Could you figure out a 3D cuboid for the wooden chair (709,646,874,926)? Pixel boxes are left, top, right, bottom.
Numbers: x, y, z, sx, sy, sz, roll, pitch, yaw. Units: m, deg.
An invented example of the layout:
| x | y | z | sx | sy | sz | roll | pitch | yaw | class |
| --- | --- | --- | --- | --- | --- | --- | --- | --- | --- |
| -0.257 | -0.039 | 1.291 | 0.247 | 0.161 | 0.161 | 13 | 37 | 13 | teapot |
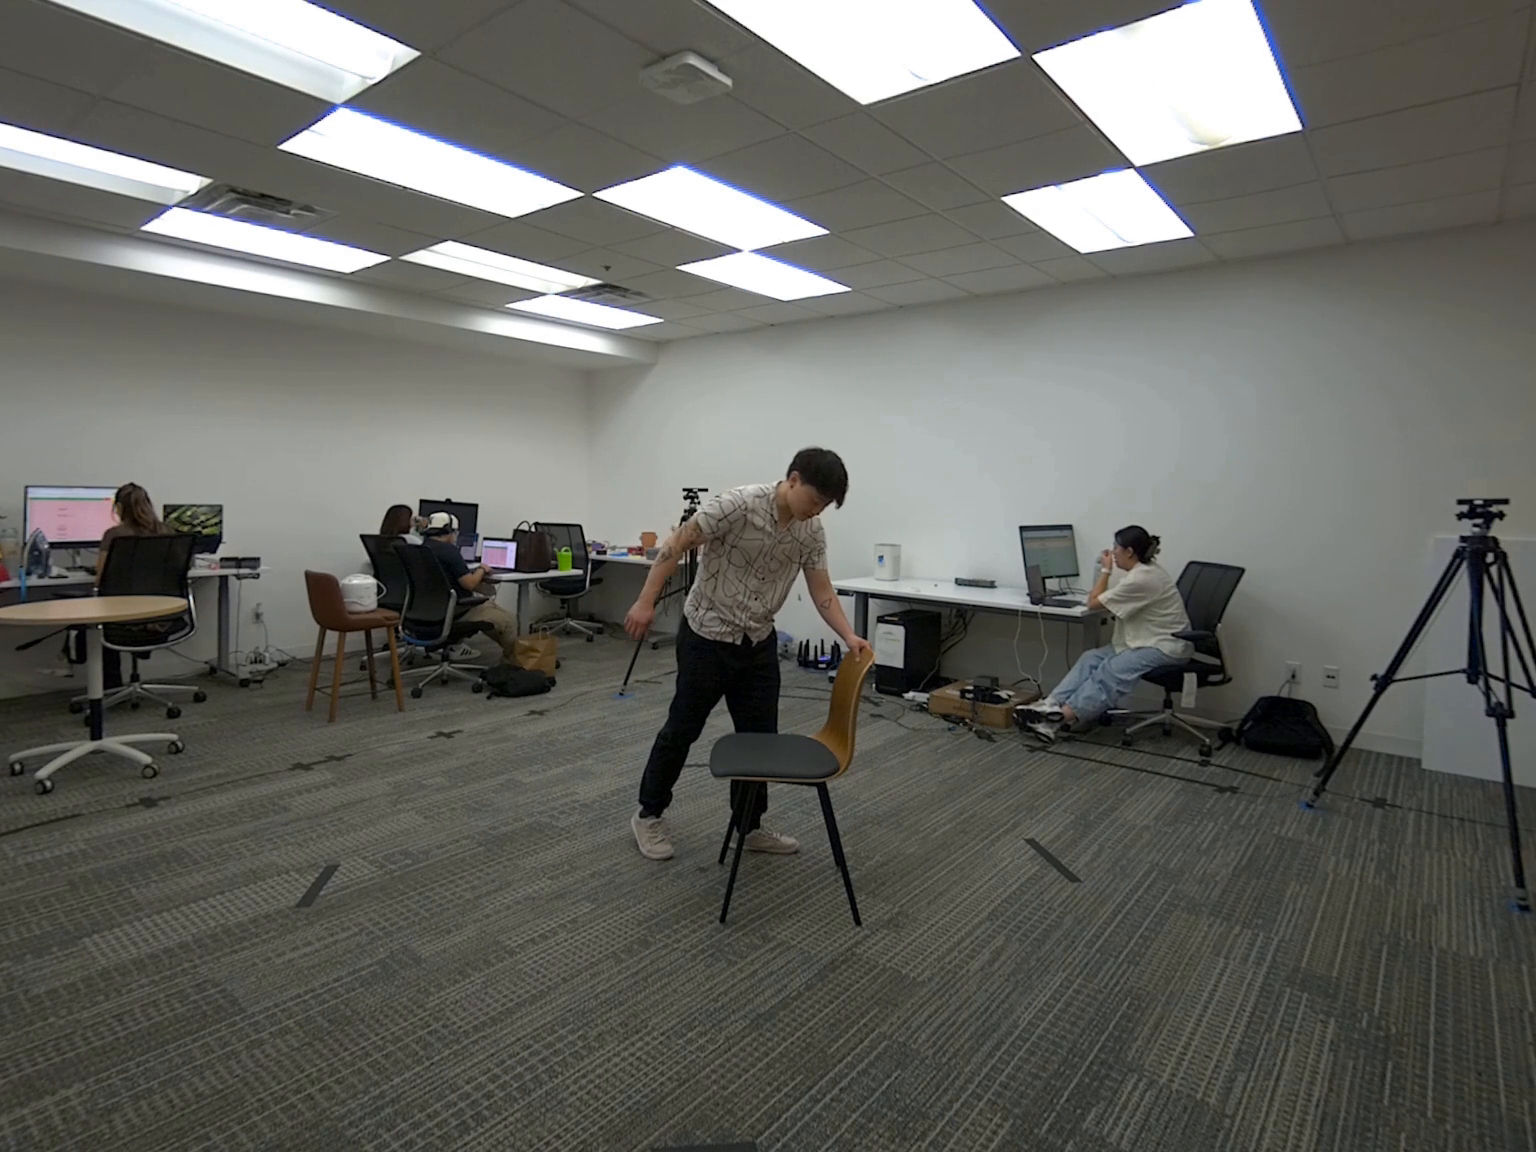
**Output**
| x | y | z | sx | sy | sz | roll | pitch | yaw | class |
| --- | --- | --- | --- | --- | --- | --- | --- | --- | --- |
| 0.053 | 0.662 | 2.916 | 0.523 | 0.875 | 0.480 | 6 | 3 | -2 | wooden chair |
